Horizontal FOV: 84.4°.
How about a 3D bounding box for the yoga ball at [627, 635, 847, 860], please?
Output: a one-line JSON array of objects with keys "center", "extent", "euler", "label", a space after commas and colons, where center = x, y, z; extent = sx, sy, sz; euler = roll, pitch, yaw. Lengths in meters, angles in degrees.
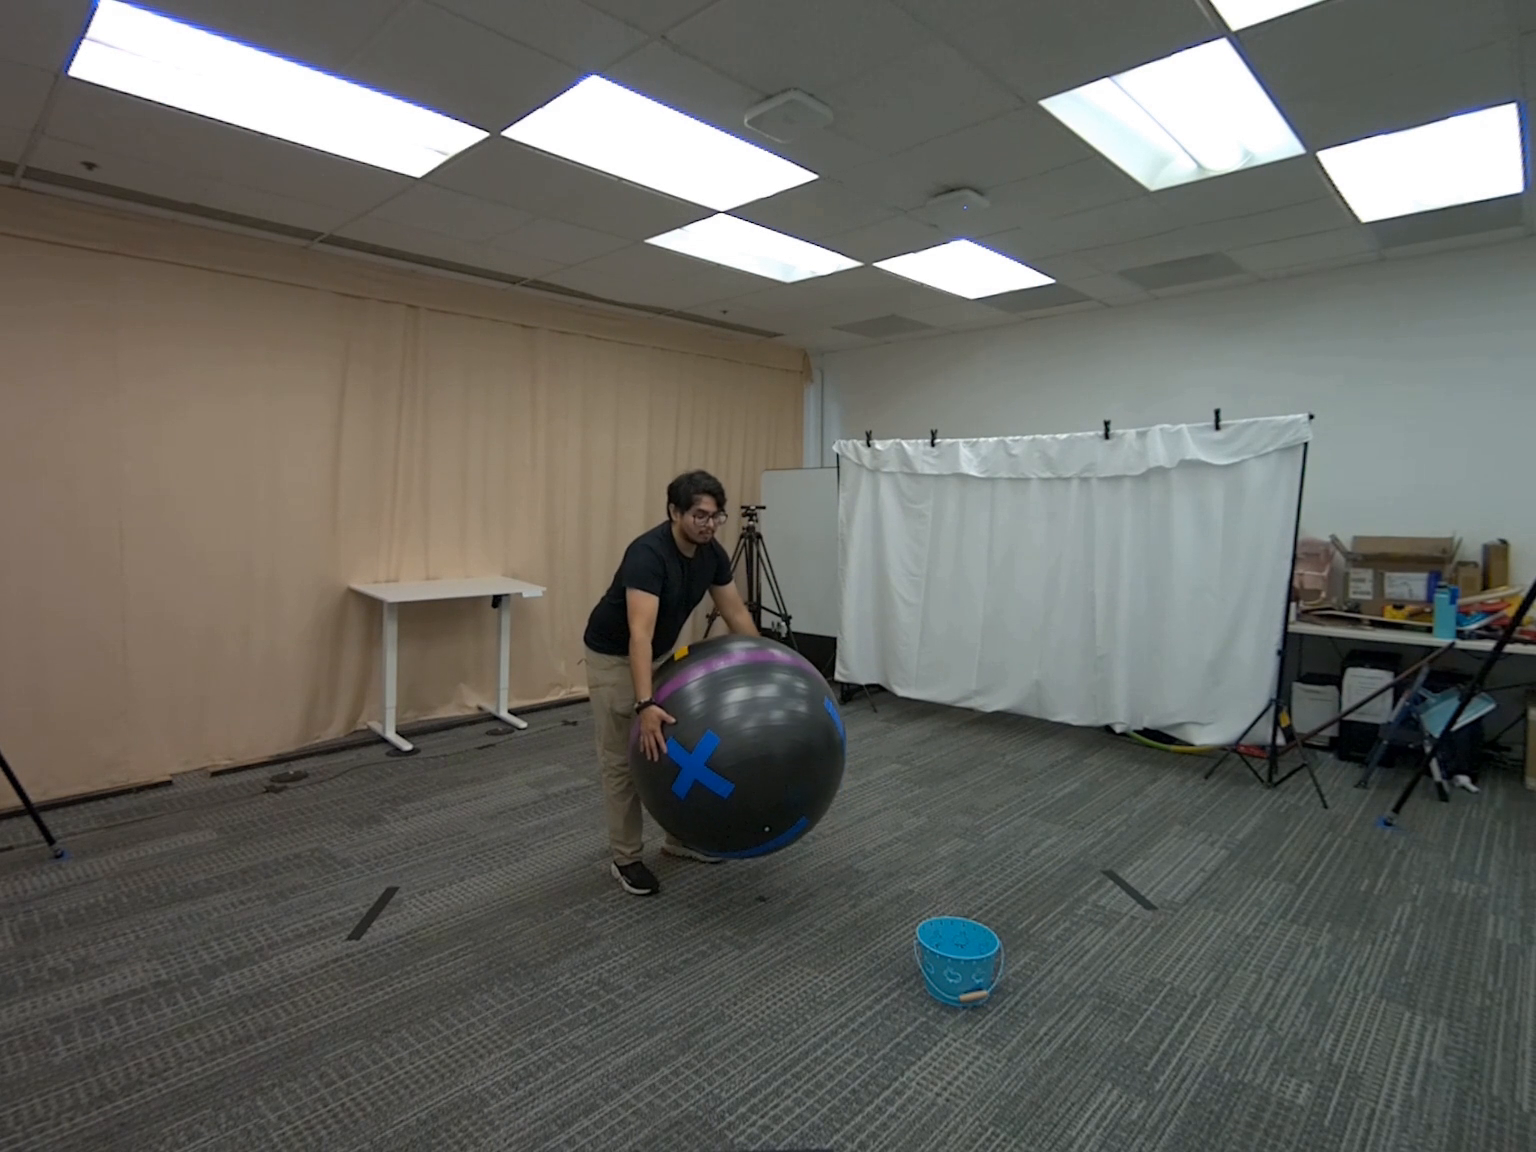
[{"center": [-0.104, 0.586, 2.931], "extent": [0.757, 0.756, 0.760], "euler": [0, 4, -2], "label": "yoga ball"}]
